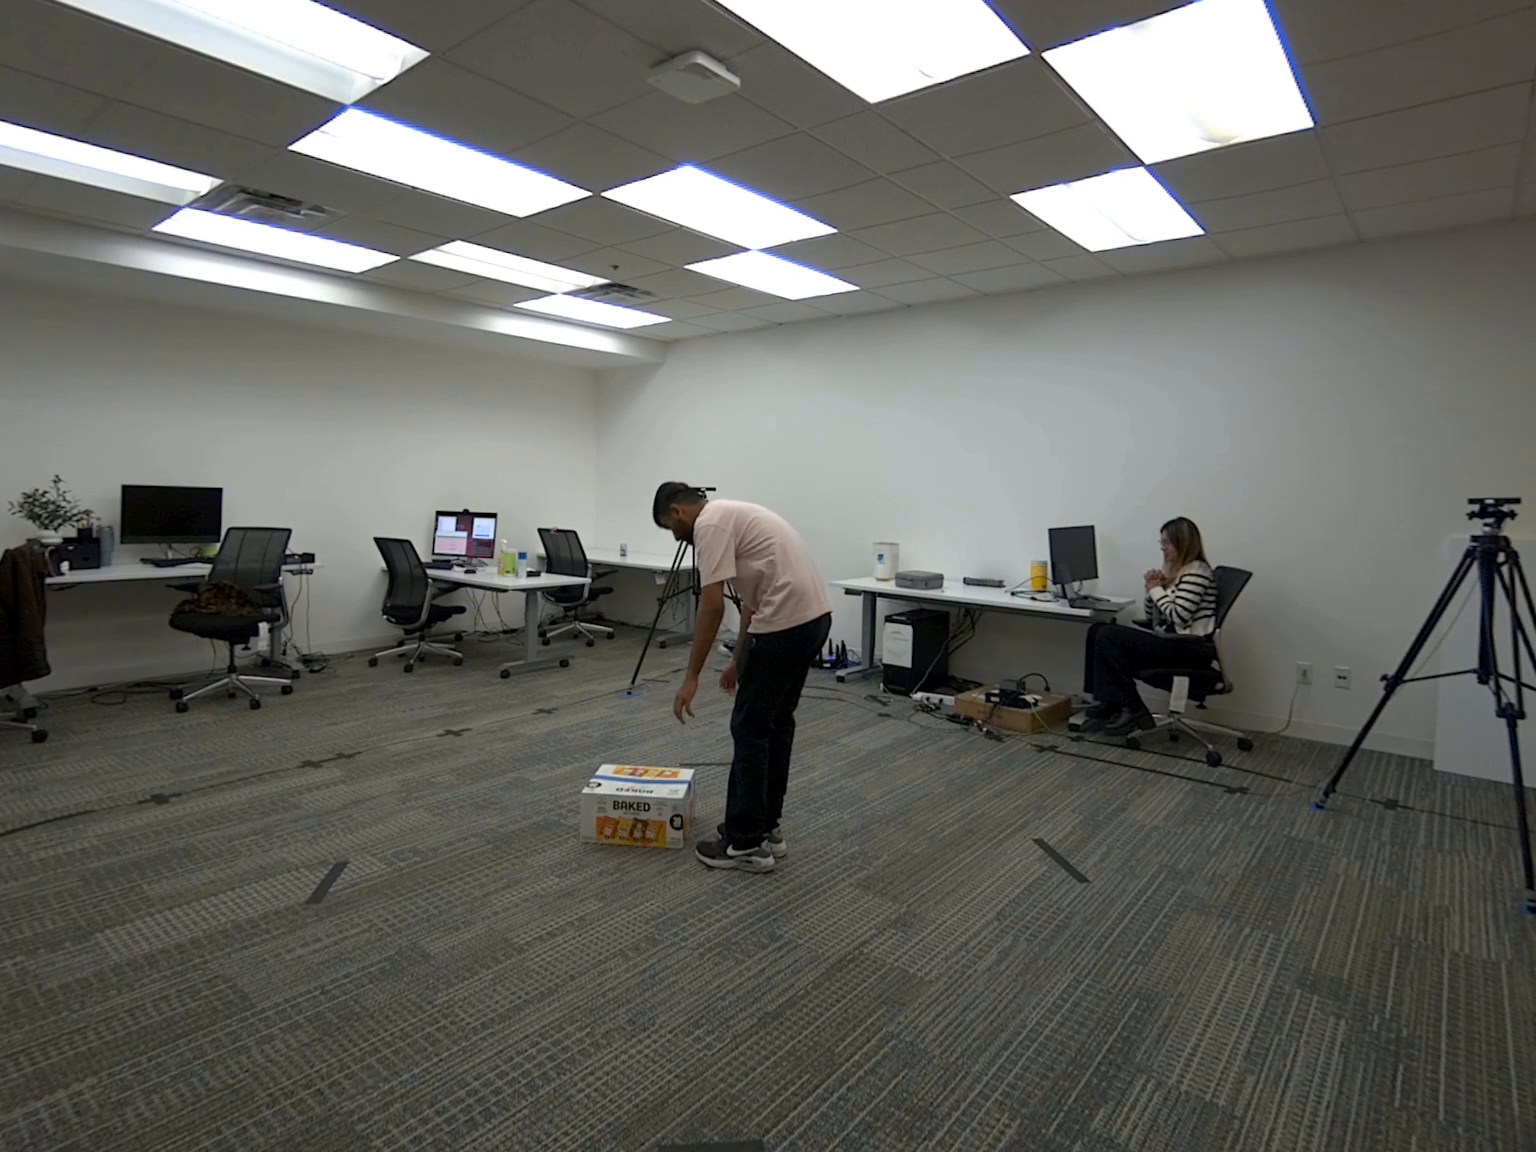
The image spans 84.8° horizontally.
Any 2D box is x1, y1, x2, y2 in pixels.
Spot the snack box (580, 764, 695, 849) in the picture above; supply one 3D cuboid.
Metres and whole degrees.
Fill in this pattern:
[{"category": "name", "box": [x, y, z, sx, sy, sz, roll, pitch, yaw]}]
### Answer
[{"category": "snack box", "box": [-0.531, 0.927, 3.454, 0.408, 0.205, 0.340, 2, 5, 4]}]
